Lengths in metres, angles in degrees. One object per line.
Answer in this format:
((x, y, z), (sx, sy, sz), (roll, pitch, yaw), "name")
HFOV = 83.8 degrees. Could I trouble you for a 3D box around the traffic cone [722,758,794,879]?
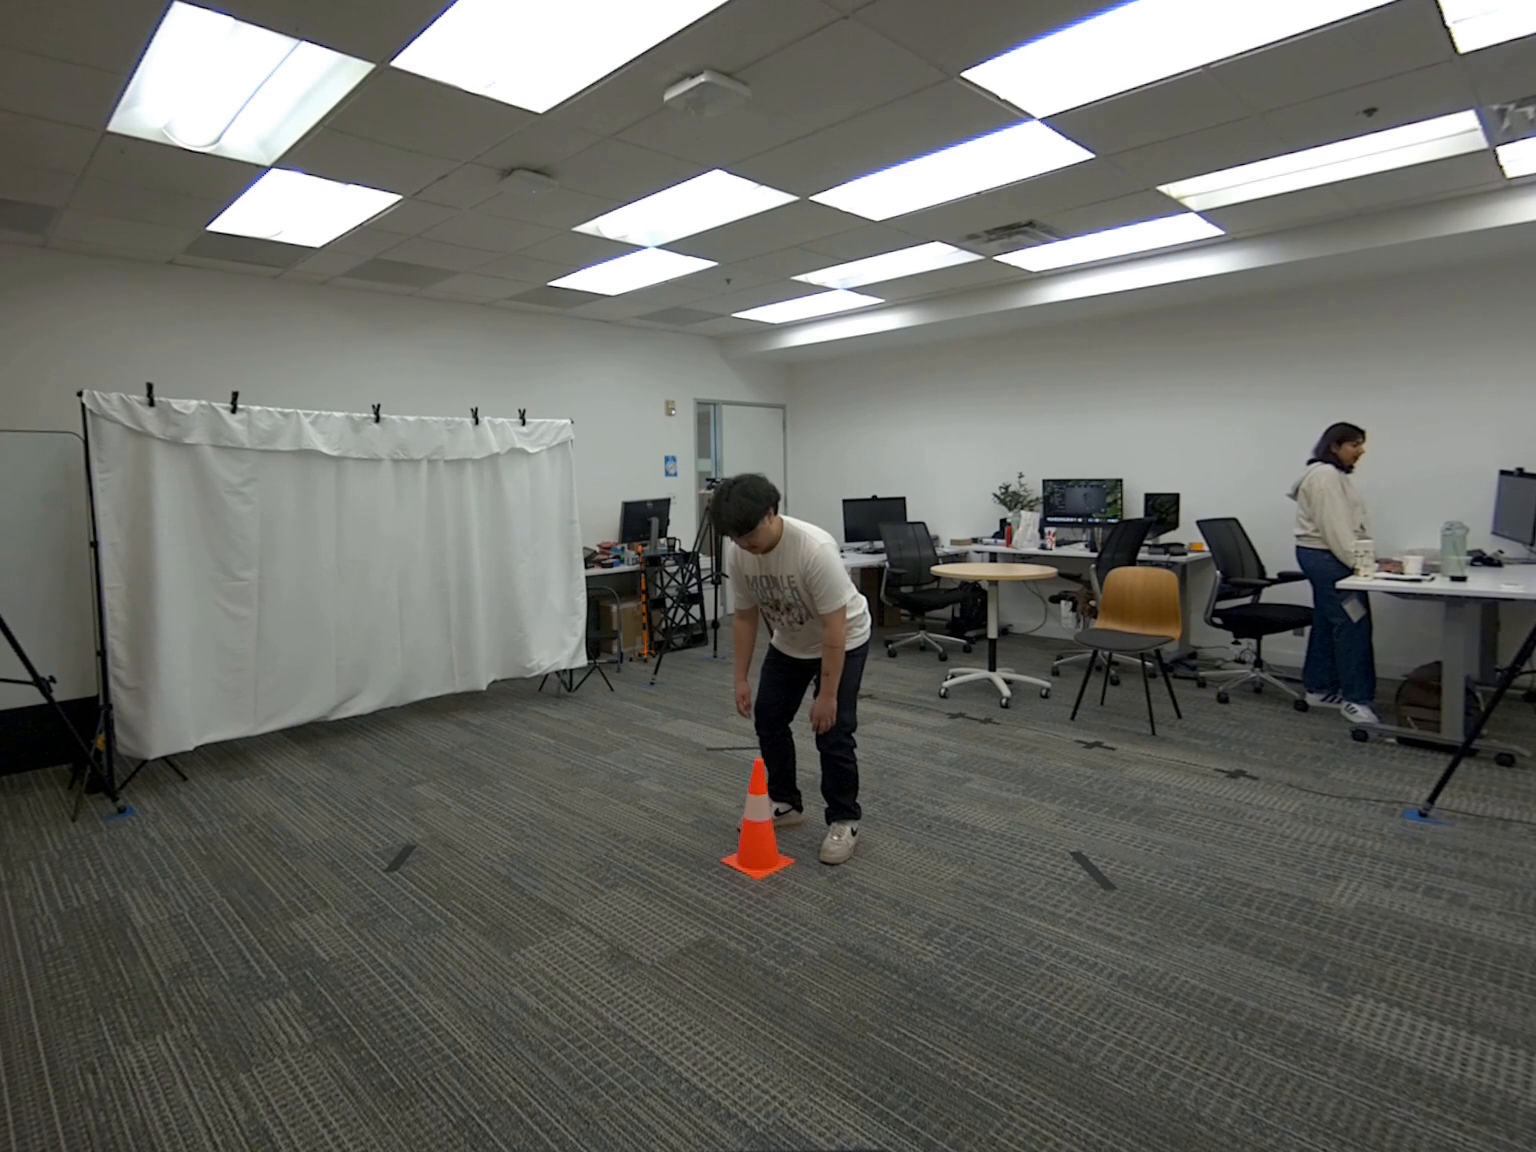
((-0.035, 0.860, 3.102), (0.211, 0.382, 0.198), (4, 6, 39), "traffic cone")
